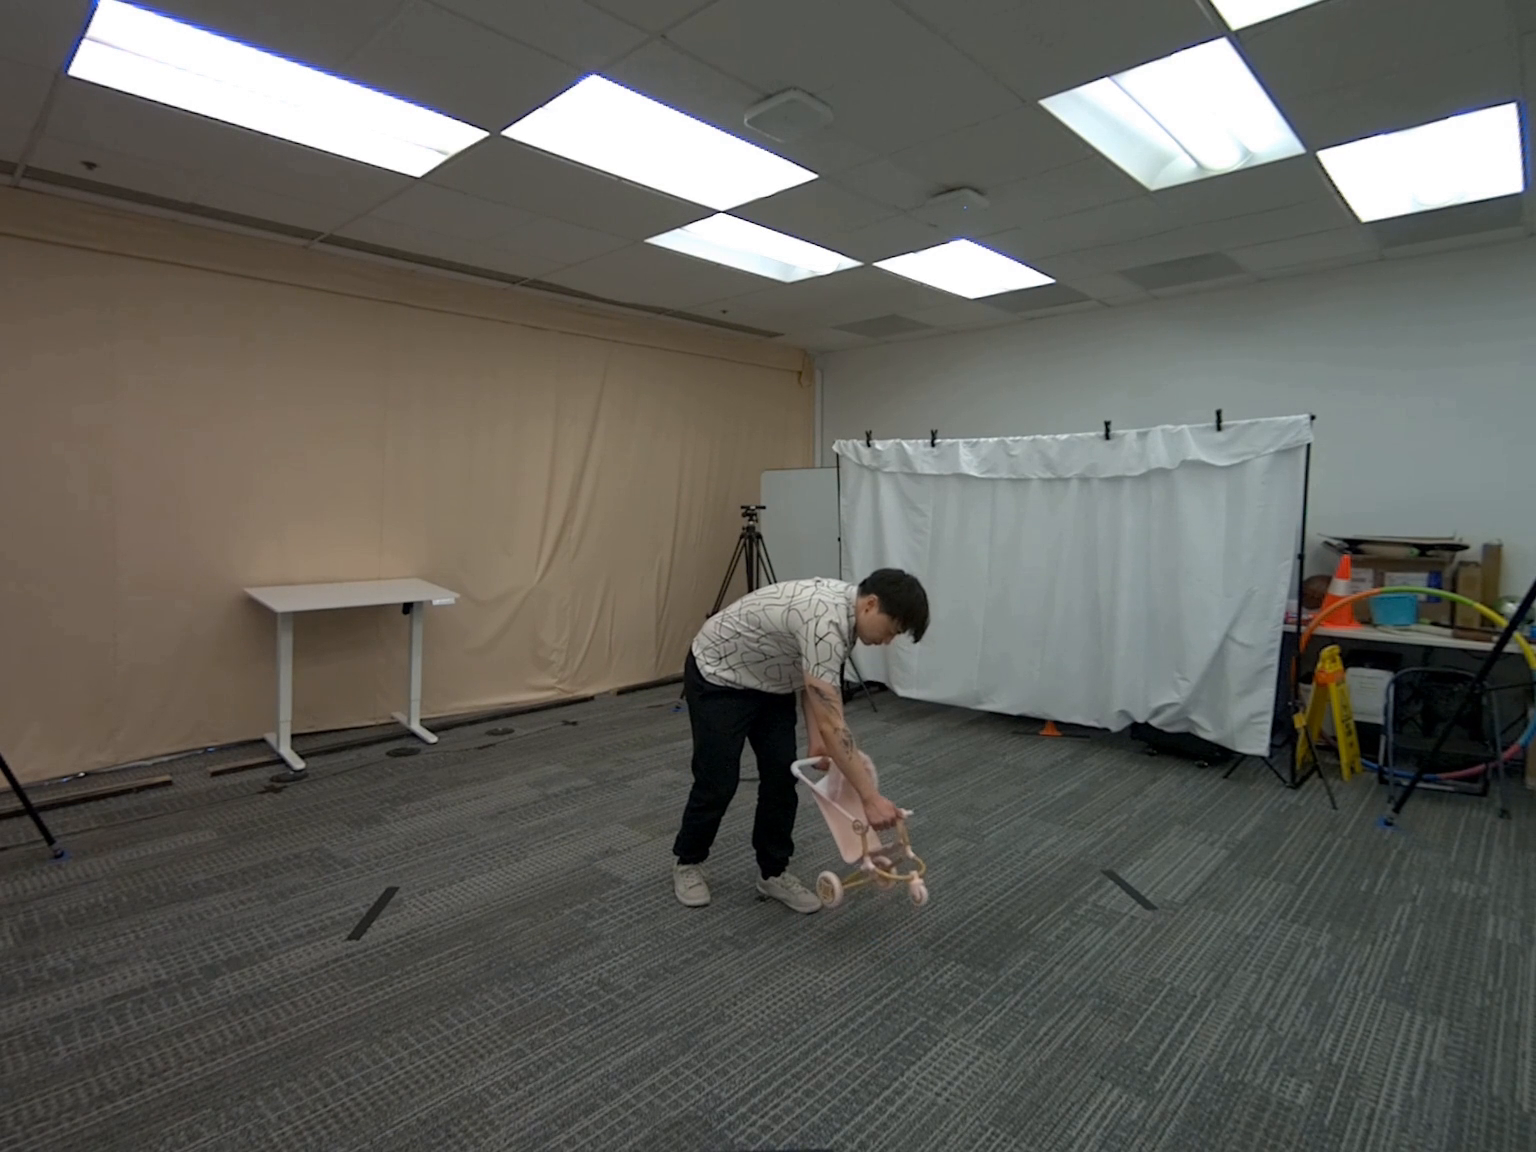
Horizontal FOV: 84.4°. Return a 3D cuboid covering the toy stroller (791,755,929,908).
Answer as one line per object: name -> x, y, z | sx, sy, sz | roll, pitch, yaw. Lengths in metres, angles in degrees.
toy stroller -> 0.311, 0.795, 2.674 | 0.273, 0.545, 0.345 | 1, -28, -35
